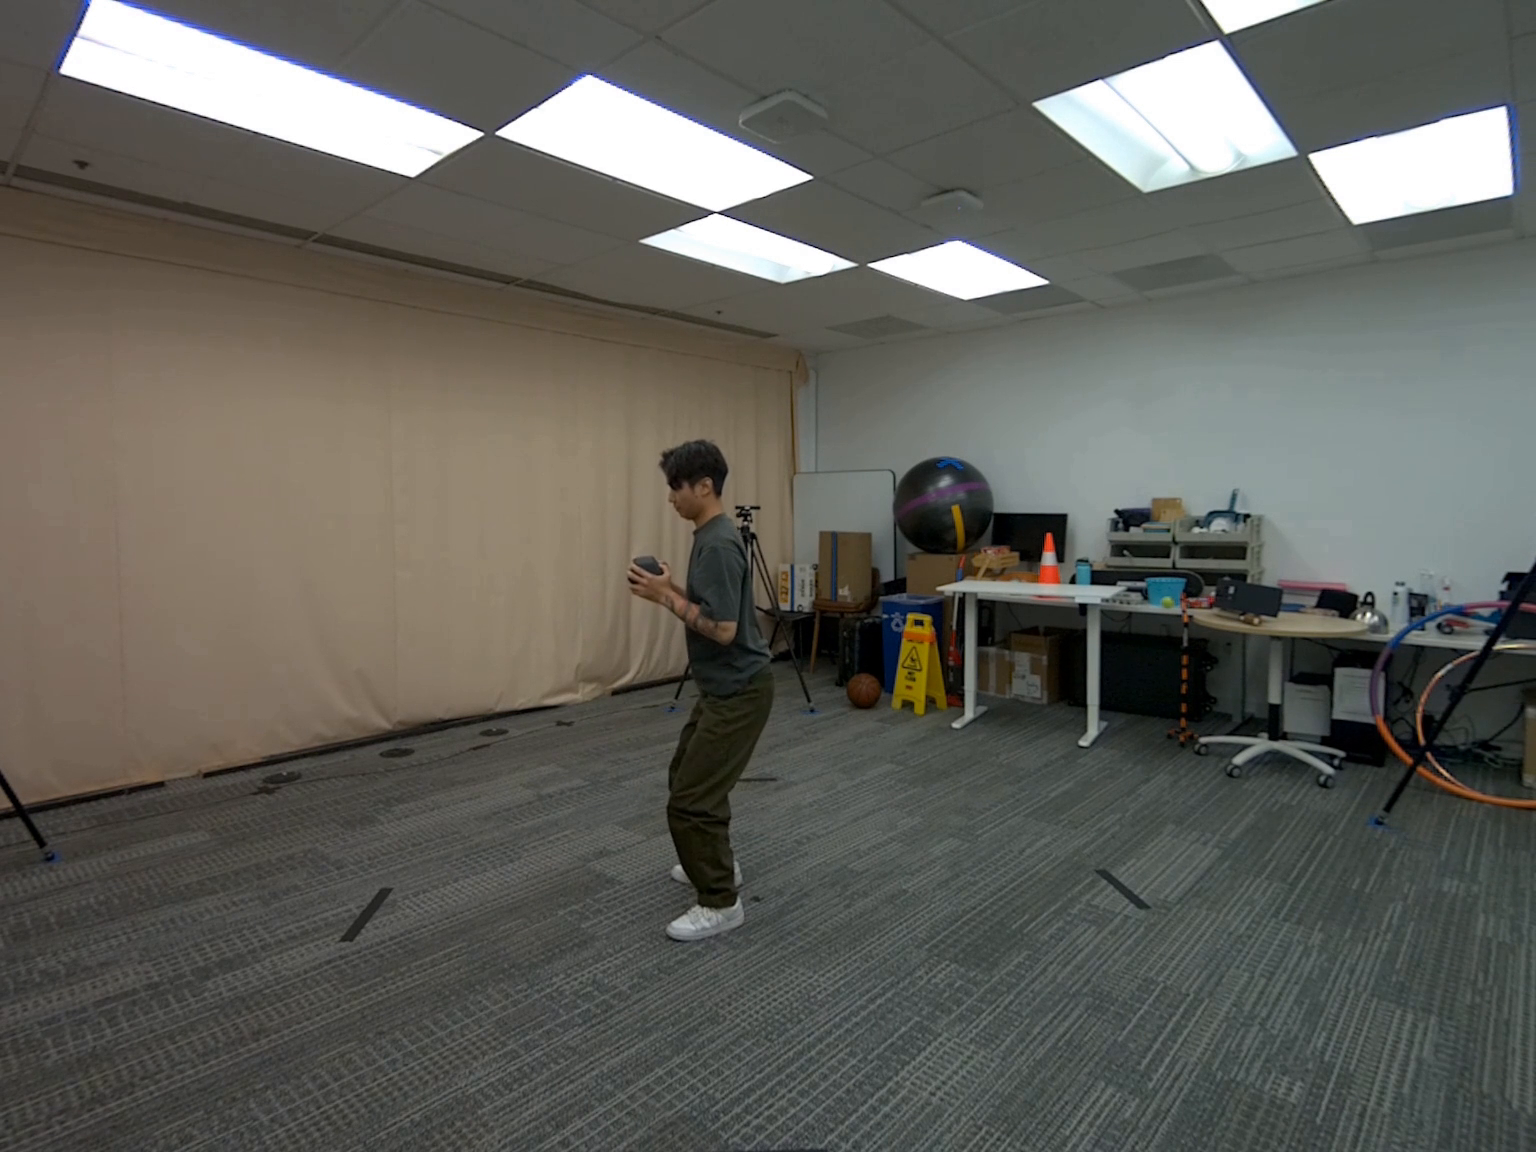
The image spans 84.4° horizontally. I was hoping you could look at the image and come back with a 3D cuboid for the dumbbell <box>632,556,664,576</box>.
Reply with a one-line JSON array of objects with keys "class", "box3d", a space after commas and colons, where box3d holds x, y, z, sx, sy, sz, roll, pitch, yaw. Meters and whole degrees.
[{"class": "dumbbell", "box3d": [-0.396, 0.009, 2.875, 0.108, 0.122, 0.295, -37, 5, -4]}]
